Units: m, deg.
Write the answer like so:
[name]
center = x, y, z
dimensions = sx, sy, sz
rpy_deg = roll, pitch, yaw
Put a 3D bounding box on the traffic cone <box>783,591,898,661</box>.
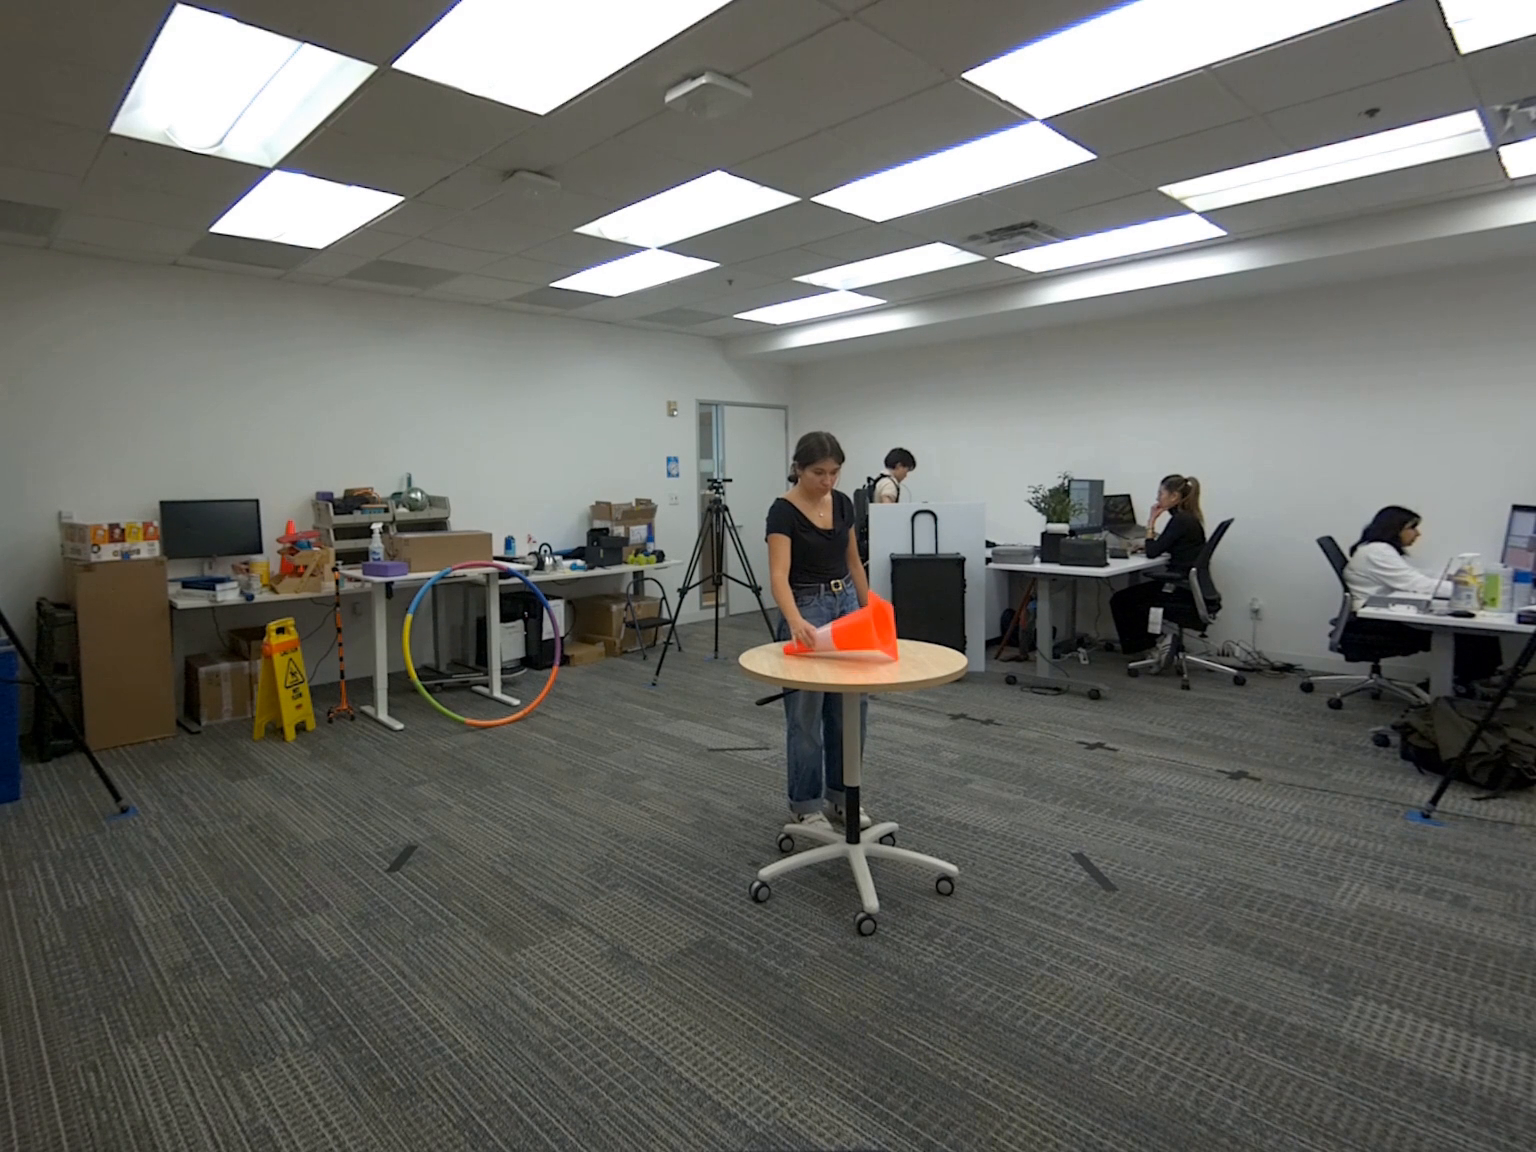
[traffic cone]
center = 0.223, 0.221, 2.911
dimensions = 0.389, 0.210, 0.196
rpy_deg = -19, -29, 29
